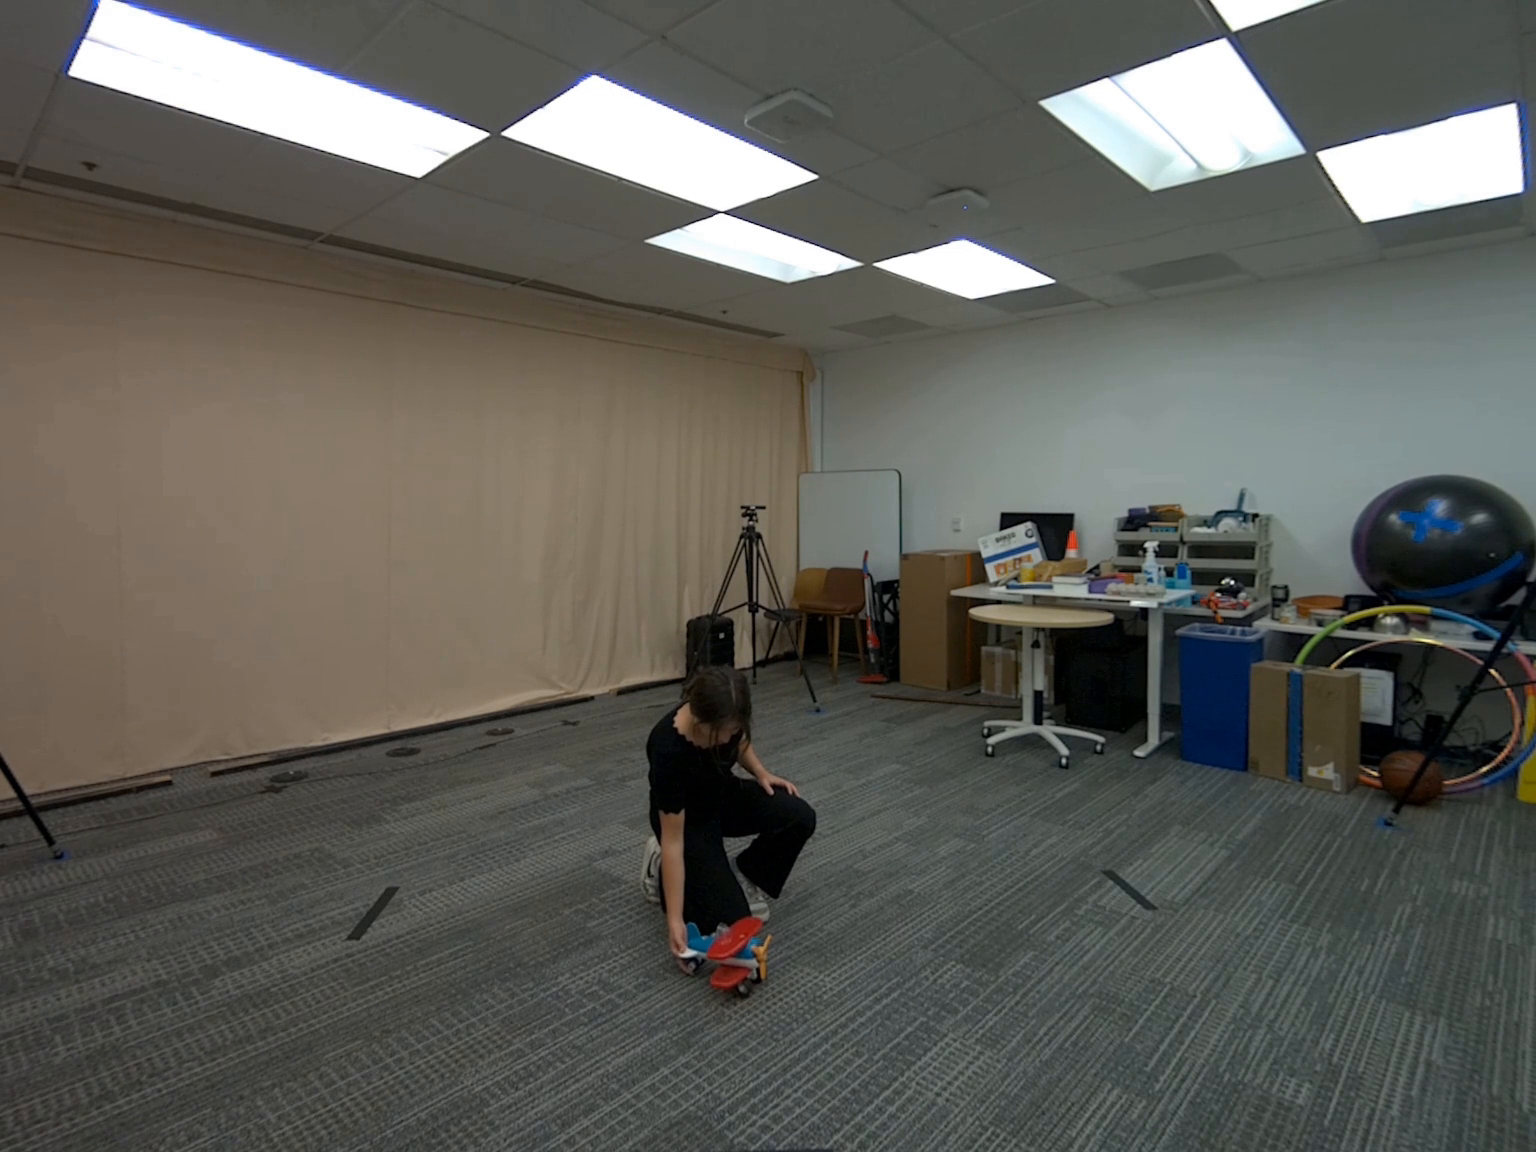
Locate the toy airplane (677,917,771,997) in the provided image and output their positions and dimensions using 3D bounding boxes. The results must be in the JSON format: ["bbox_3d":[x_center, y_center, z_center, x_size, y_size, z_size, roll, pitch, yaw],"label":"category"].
[{"bbox_3d":[-0.132,1.101,2.440,0.259,0.156,0.252,6,6,-1],"label":"toy airplane"}]
